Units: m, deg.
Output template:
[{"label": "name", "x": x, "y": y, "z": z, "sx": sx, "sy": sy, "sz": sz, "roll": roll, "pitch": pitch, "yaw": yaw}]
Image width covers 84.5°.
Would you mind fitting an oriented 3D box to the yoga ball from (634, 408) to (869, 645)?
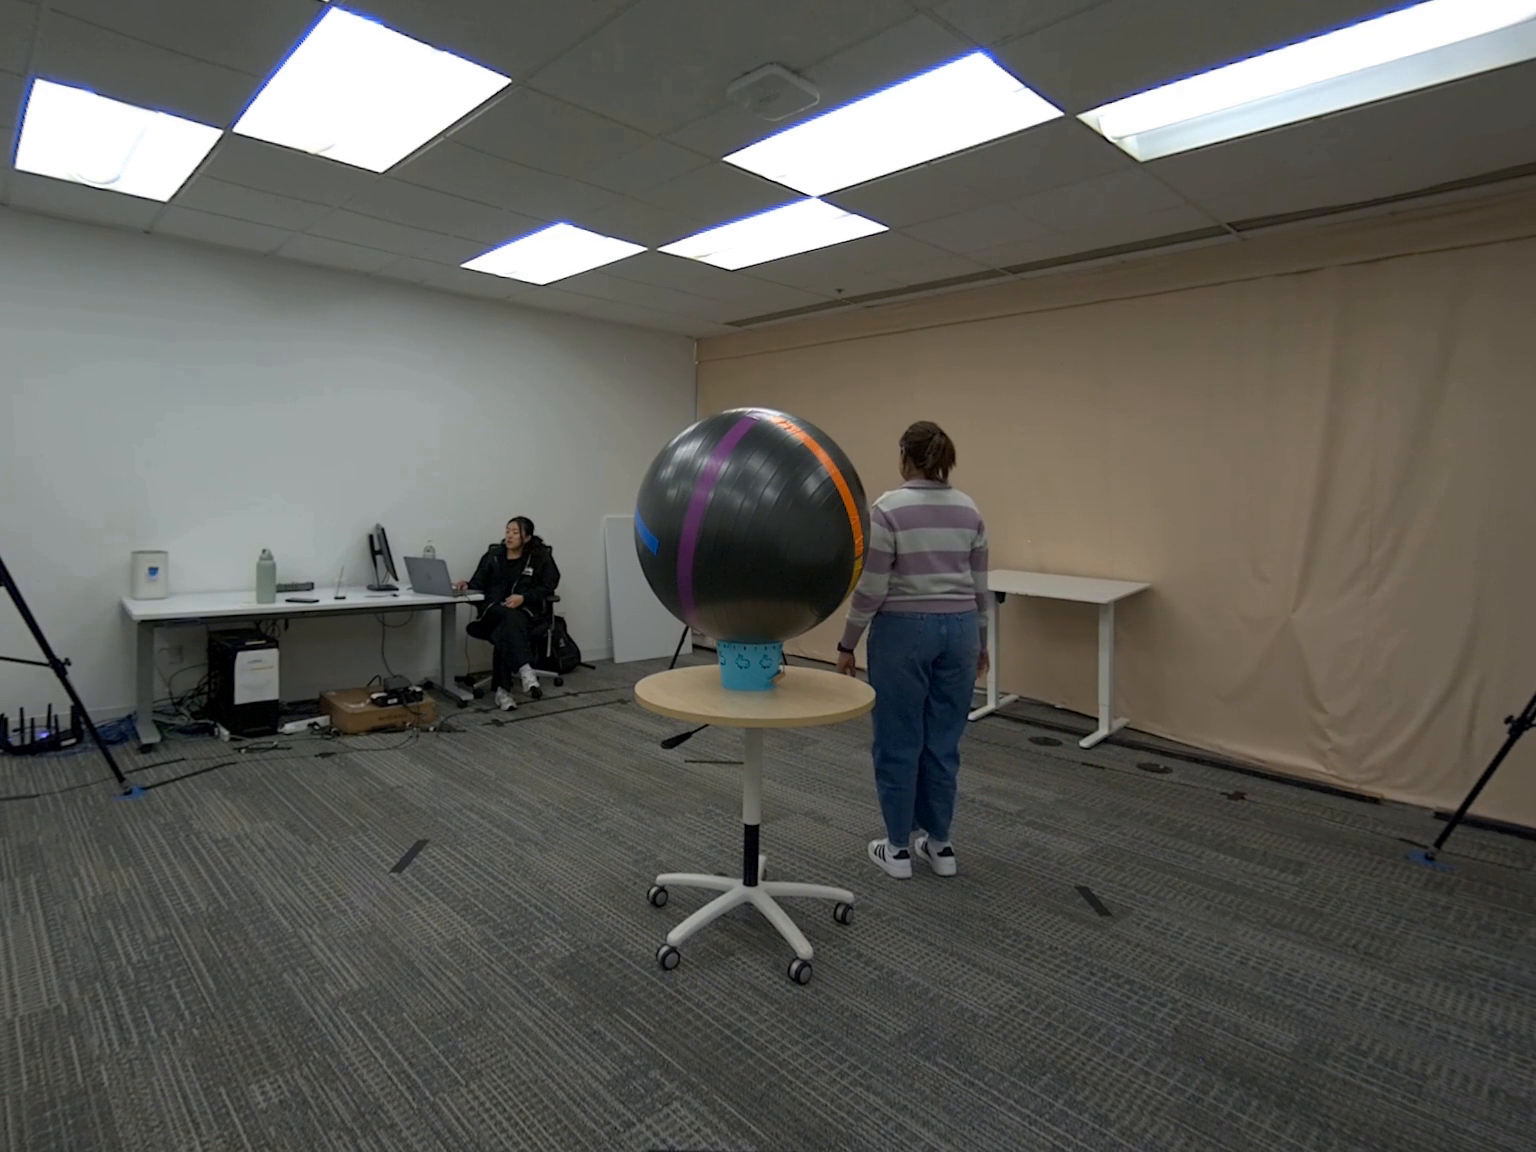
[{"label": "yoga ball", "x": -0.051, "y": -0.153, "z": 2.710, "sx": 0.757, "sy": 0.756, "sz": 0.761, "roll": 1, "pitch": 4, "yaw": -1}]
